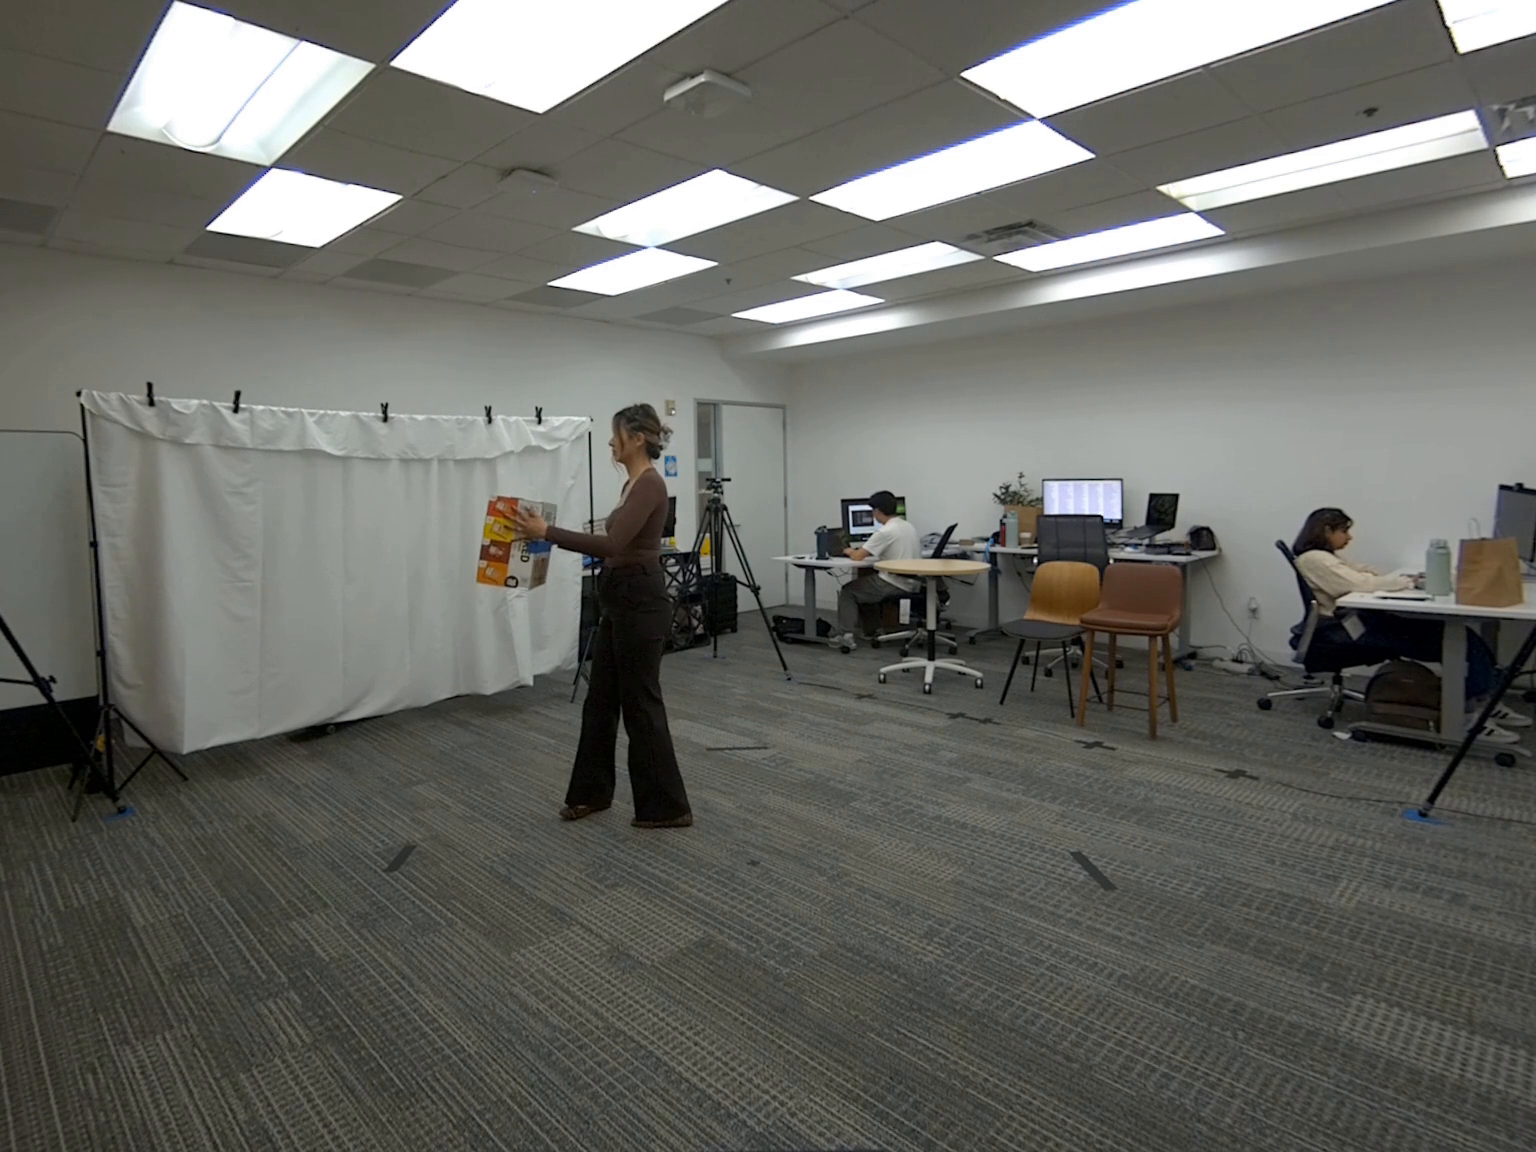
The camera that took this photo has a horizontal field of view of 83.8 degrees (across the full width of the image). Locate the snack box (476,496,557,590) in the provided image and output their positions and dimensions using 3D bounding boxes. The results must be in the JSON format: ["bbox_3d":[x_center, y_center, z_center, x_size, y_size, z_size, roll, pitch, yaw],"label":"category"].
[{"bbox_3d":[-0.992,-0.139,3.403,0.204,0.340,0.408,9,1,-6],"label":"snack box"}]
